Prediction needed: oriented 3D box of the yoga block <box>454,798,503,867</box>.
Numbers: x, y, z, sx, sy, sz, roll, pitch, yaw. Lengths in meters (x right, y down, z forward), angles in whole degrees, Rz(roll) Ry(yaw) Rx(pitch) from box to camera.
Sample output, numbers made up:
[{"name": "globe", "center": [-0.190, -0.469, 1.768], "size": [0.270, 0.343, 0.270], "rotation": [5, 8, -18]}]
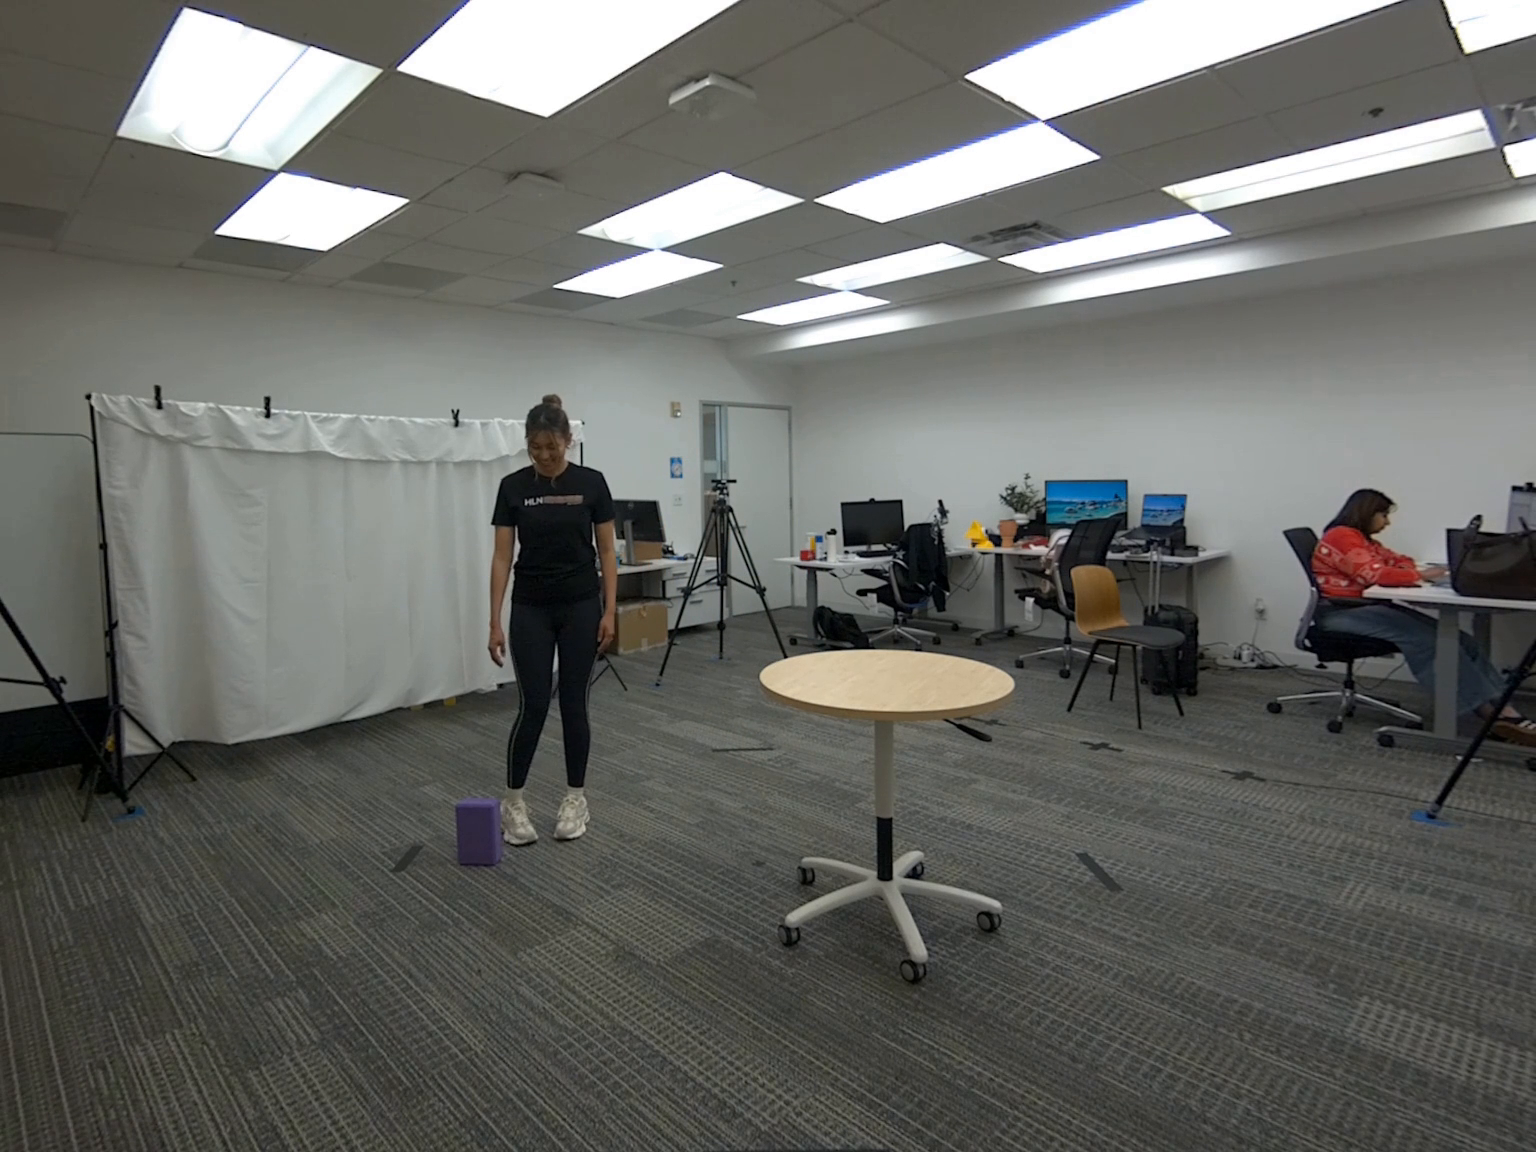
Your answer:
[{"name": "yoga block", "center": [-1.076, 0.949, 3.174], "size": [0.150, 0.228, 0.076], "rotation": [-6, 4, 6]}]
